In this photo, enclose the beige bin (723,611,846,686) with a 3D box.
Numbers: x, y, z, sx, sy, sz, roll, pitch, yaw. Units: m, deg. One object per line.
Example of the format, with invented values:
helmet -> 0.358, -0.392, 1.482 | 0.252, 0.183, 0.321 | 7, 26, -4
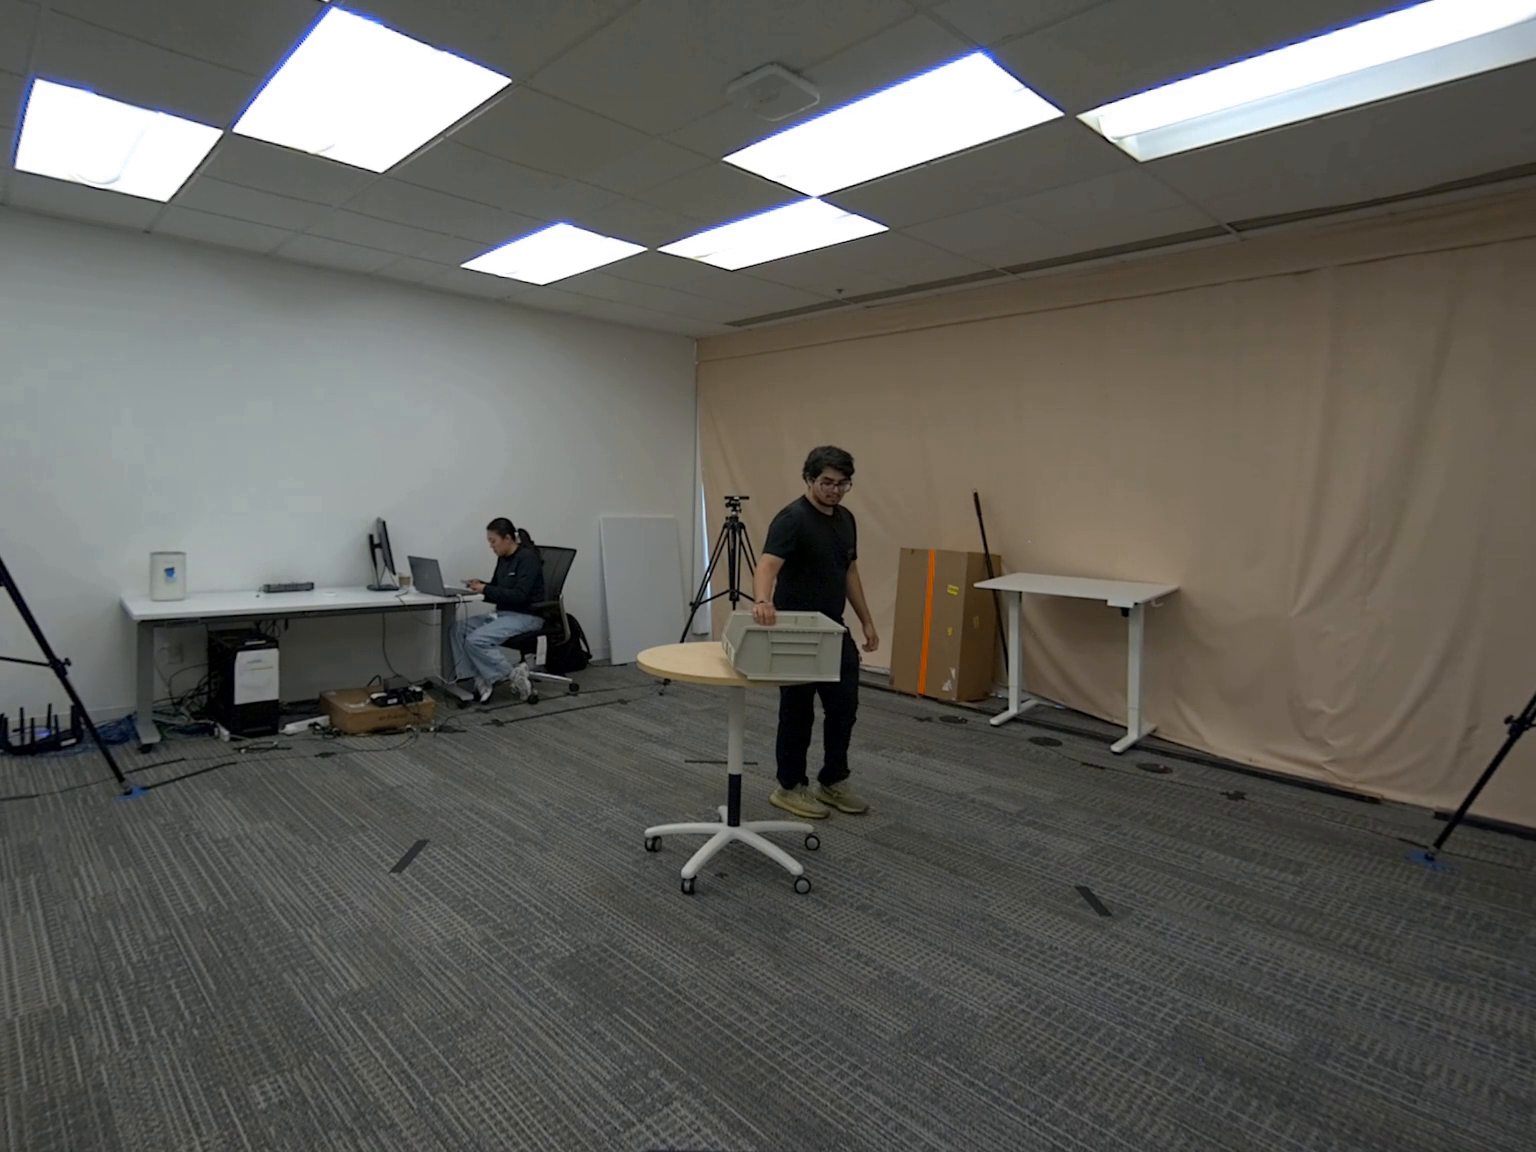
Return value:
beige bin -> 0.036, 0.238, 3.004 | 0.375, 0.189, 0.425 | 3, 3, -8
